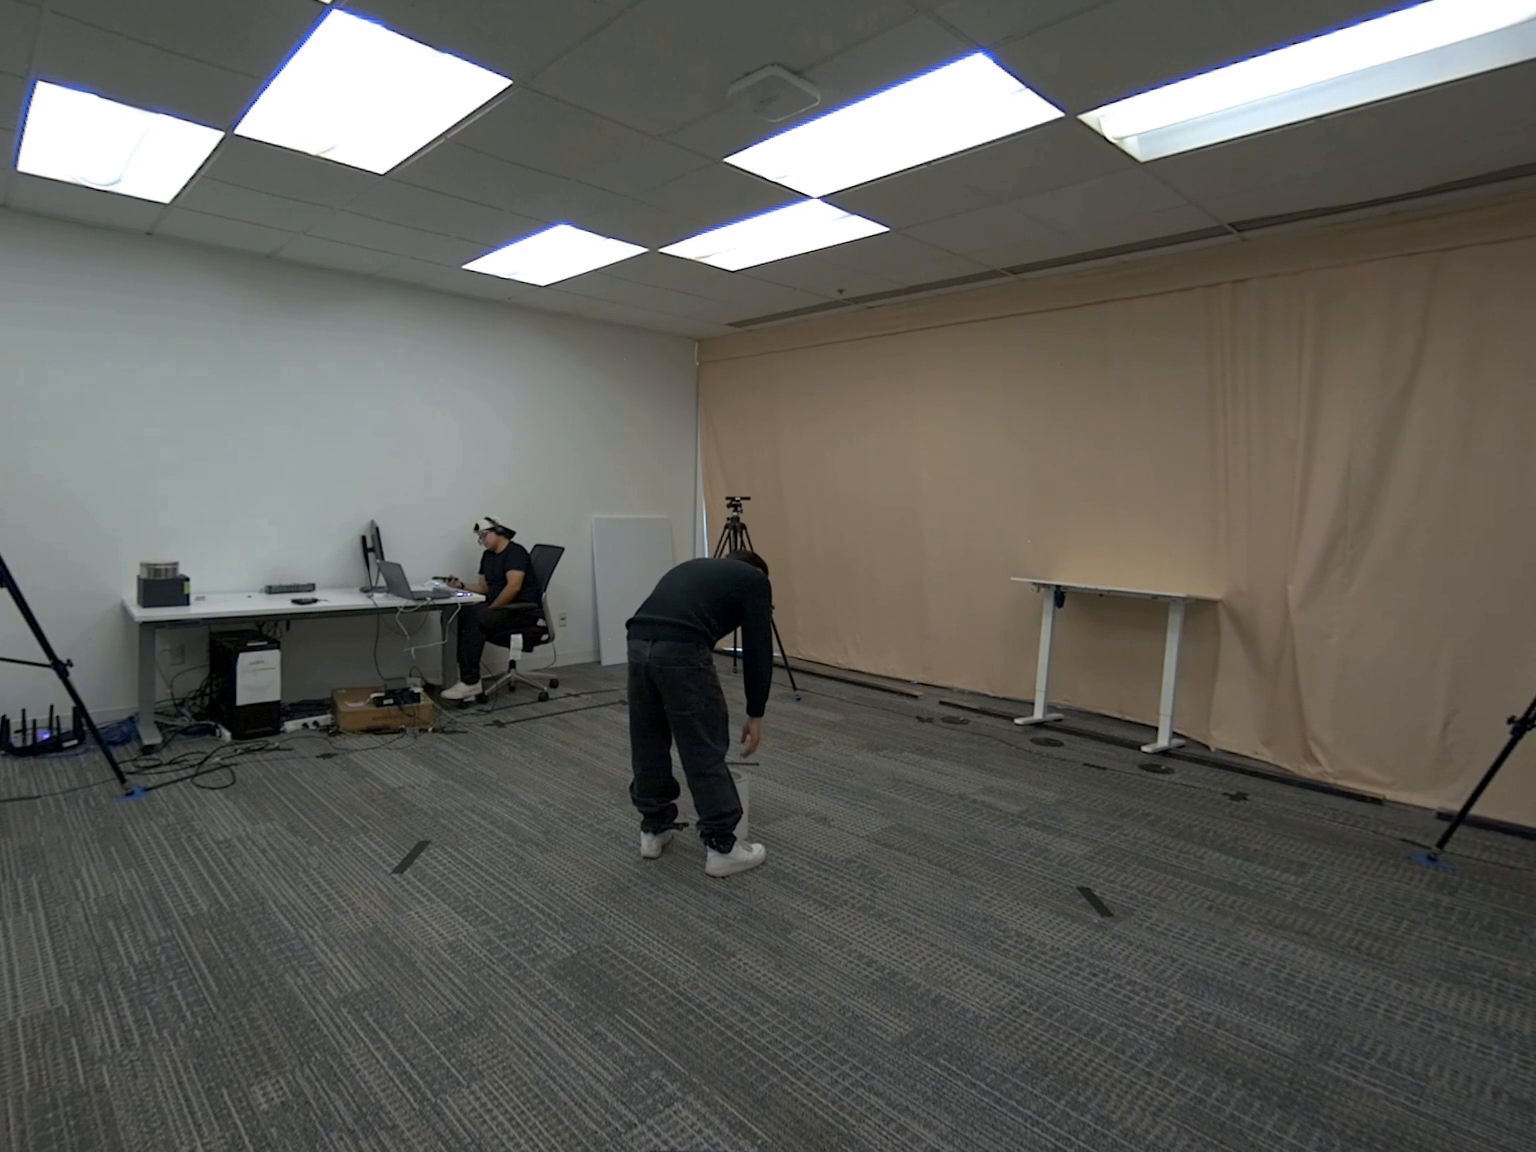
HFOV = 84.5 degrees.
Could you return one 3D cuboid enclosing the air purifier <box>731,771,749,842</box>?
[{"bbox_3d":[-0.196,0.950,3.431,0.167,0.265,0.176,-2,4,-43],"label":"air purifier"}]
